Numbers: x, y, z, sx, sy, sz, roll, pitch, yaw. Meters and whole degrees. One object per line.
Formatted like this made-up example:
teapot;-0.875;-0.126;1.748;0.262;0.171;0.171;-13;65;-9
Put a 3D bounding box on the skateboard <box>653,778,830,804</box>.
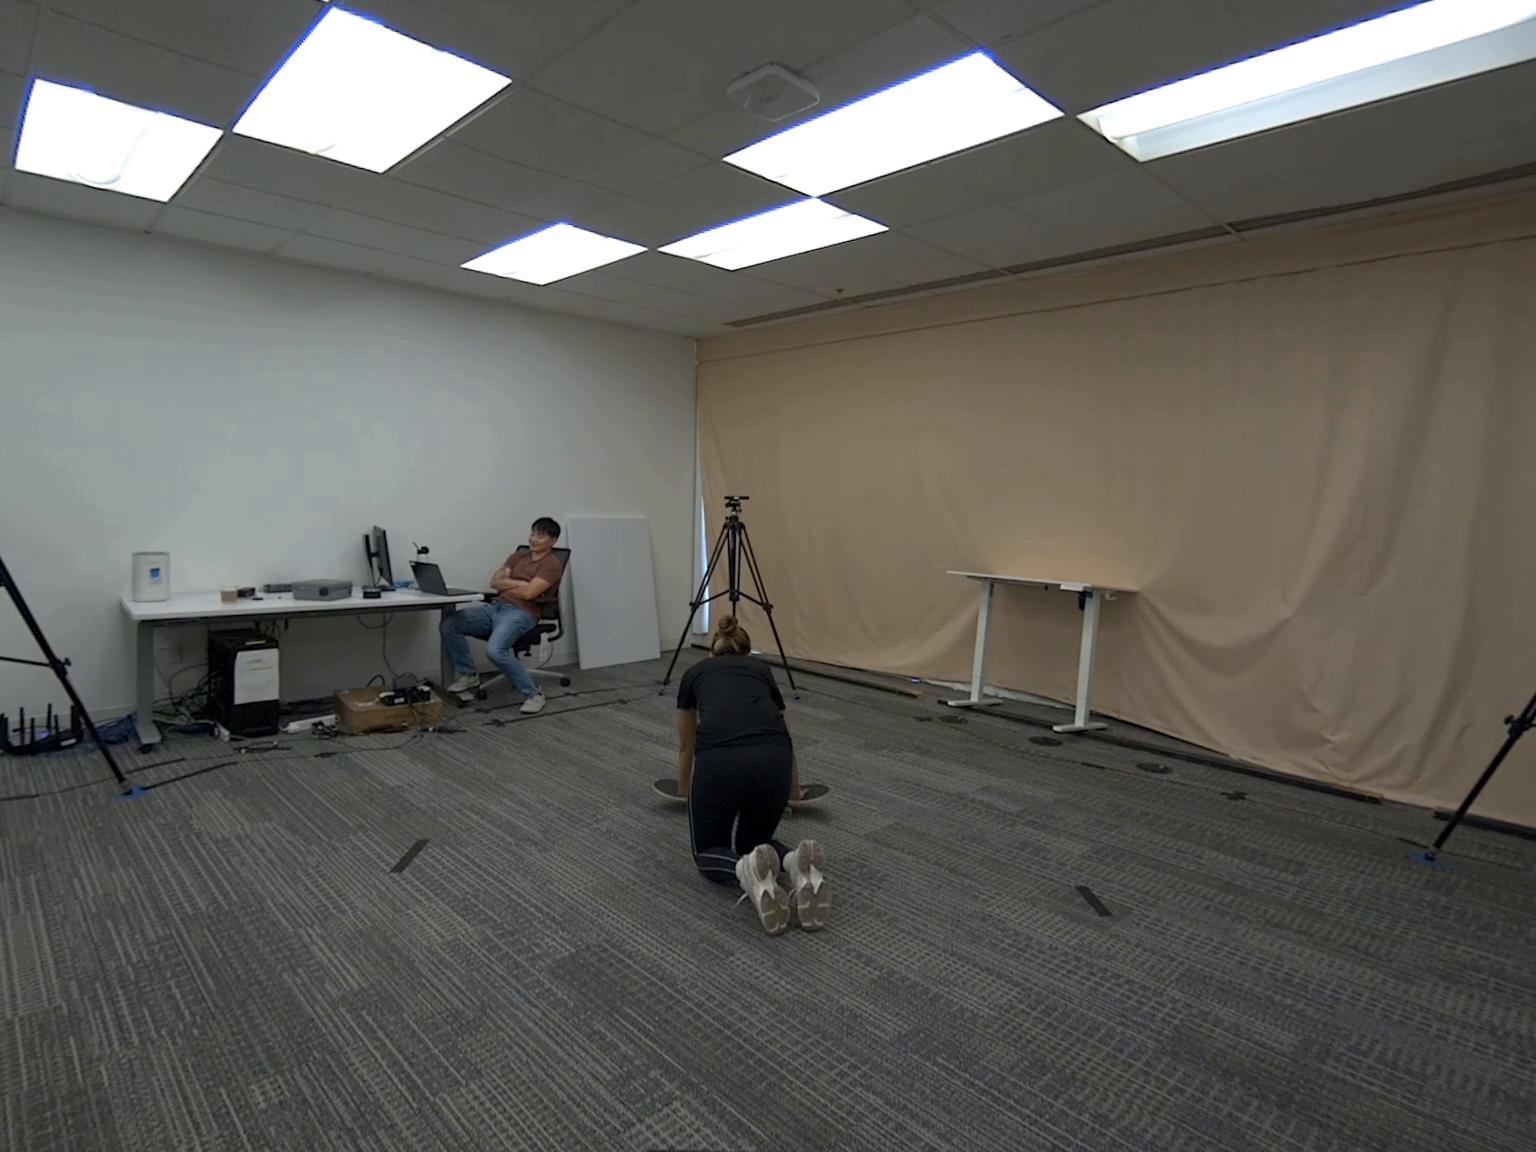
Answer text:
skateboard;-0.118;0.984;3.755;0.786;0.110;0.194;1;6;2
